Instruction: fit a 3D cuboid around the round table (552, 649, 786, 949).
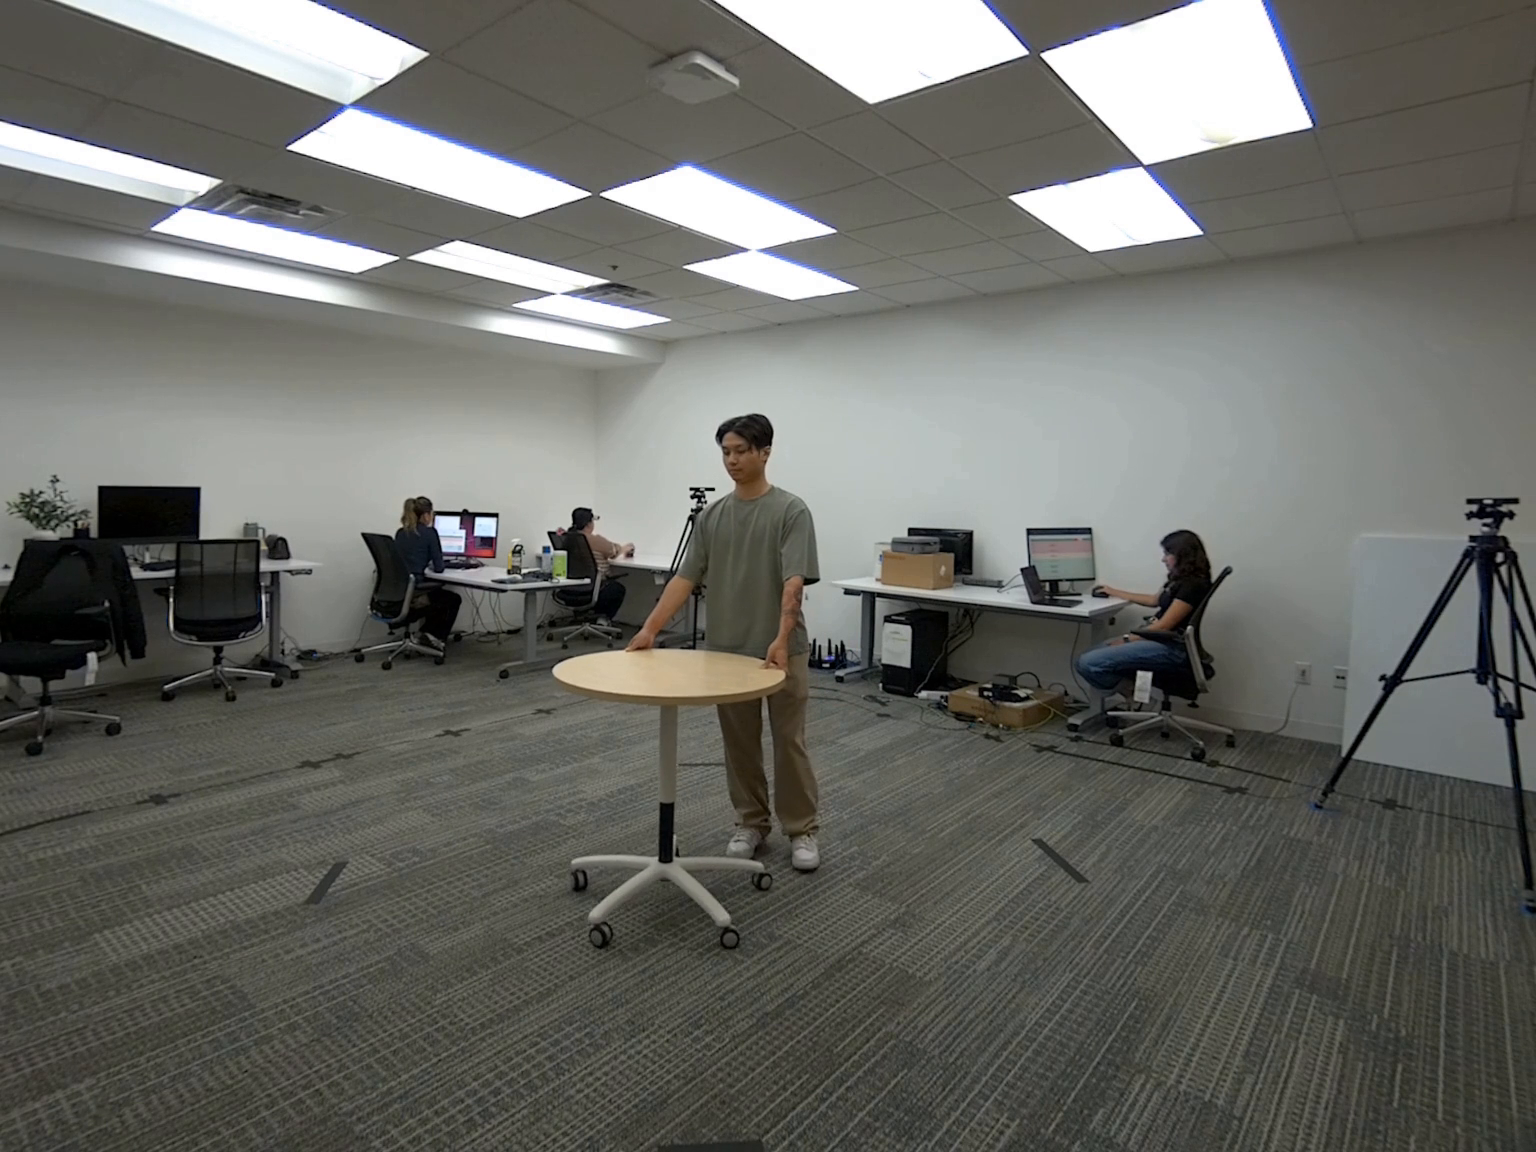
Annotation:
[{"bbox_3d":[-0.355,0.696,2.822,0.784,0.784,0.788,1,4,-2],"label":"round table"}]
